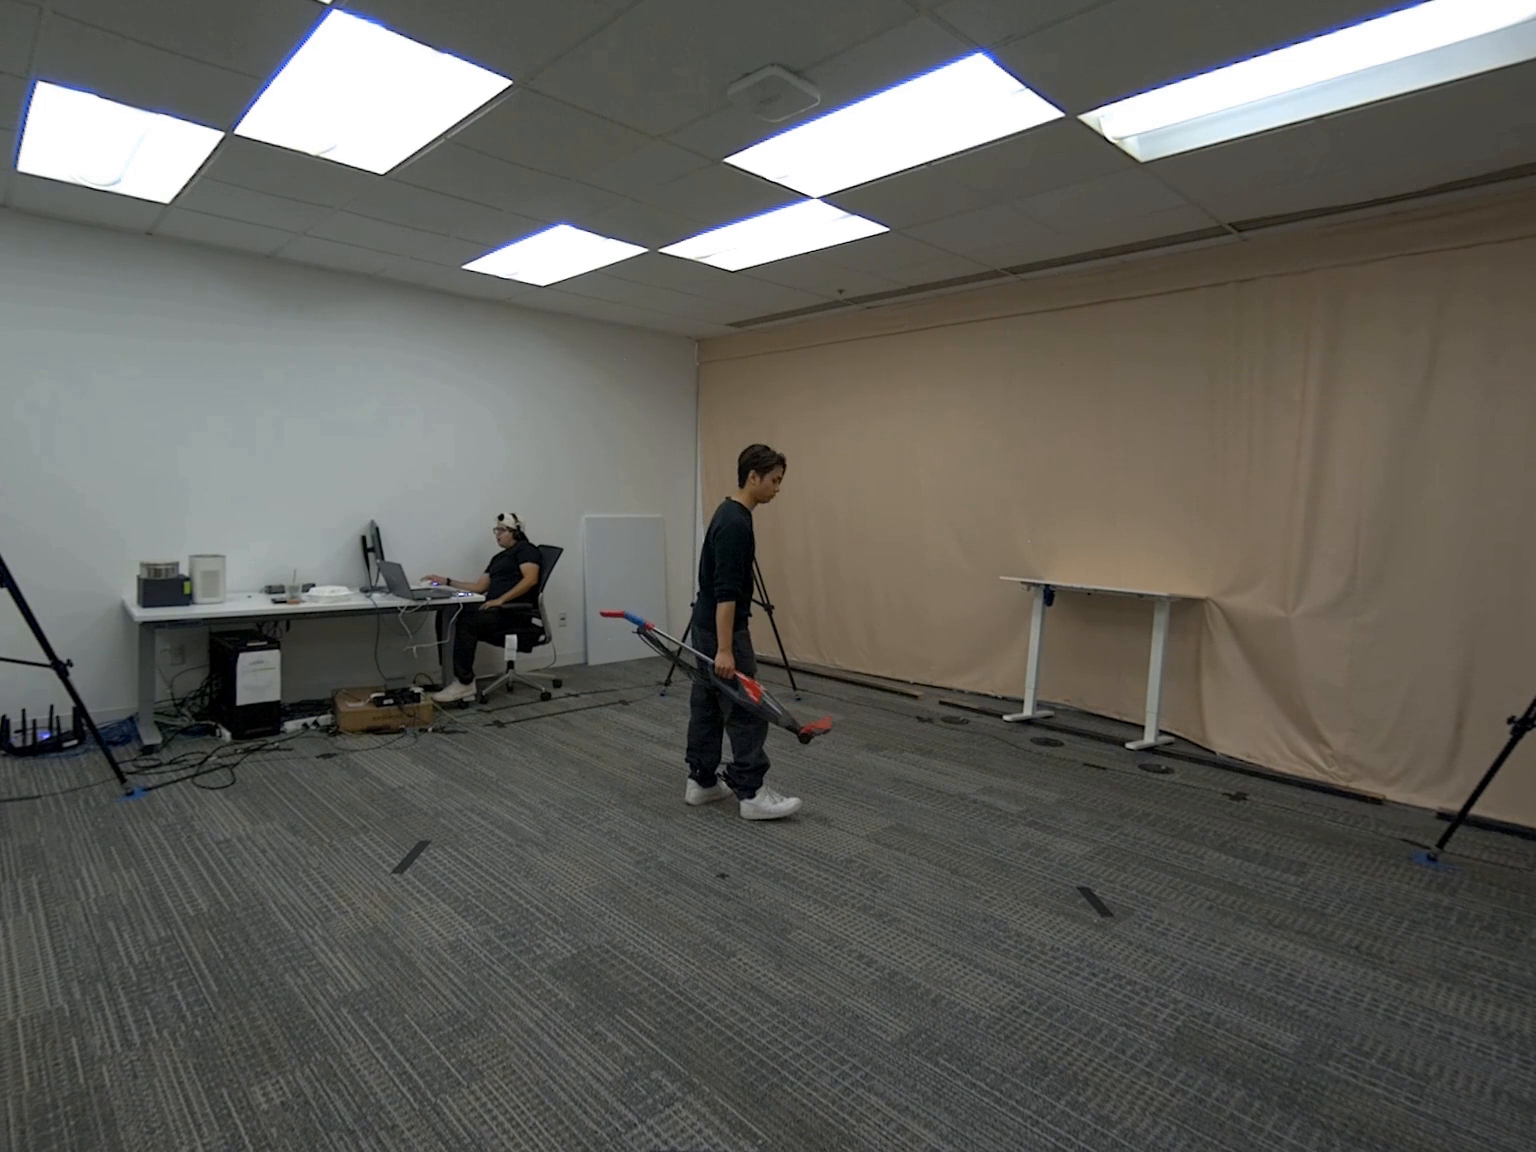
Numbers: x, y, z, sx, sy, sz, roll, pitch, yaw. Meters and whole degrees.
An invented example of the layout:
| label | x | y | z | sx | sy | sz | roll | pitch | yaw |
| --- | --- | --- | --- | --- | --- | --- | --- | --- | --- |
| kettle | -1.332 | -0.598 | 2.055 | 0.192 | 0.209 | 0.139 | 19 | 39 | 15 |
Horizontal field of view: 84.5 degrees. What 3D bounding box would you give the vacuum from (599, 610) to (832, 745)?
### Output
| label | x | y | z | sx | sy | sz | roll | pitch | yaw |
| --- | --- | --- | --- | --- | --- | --- | --- | --- | --- |
| vacuum | -0.251 | 0.413 | 3.588 | 1.057 | 0.144 | 0.250 | 29 | -1 | 7 |
